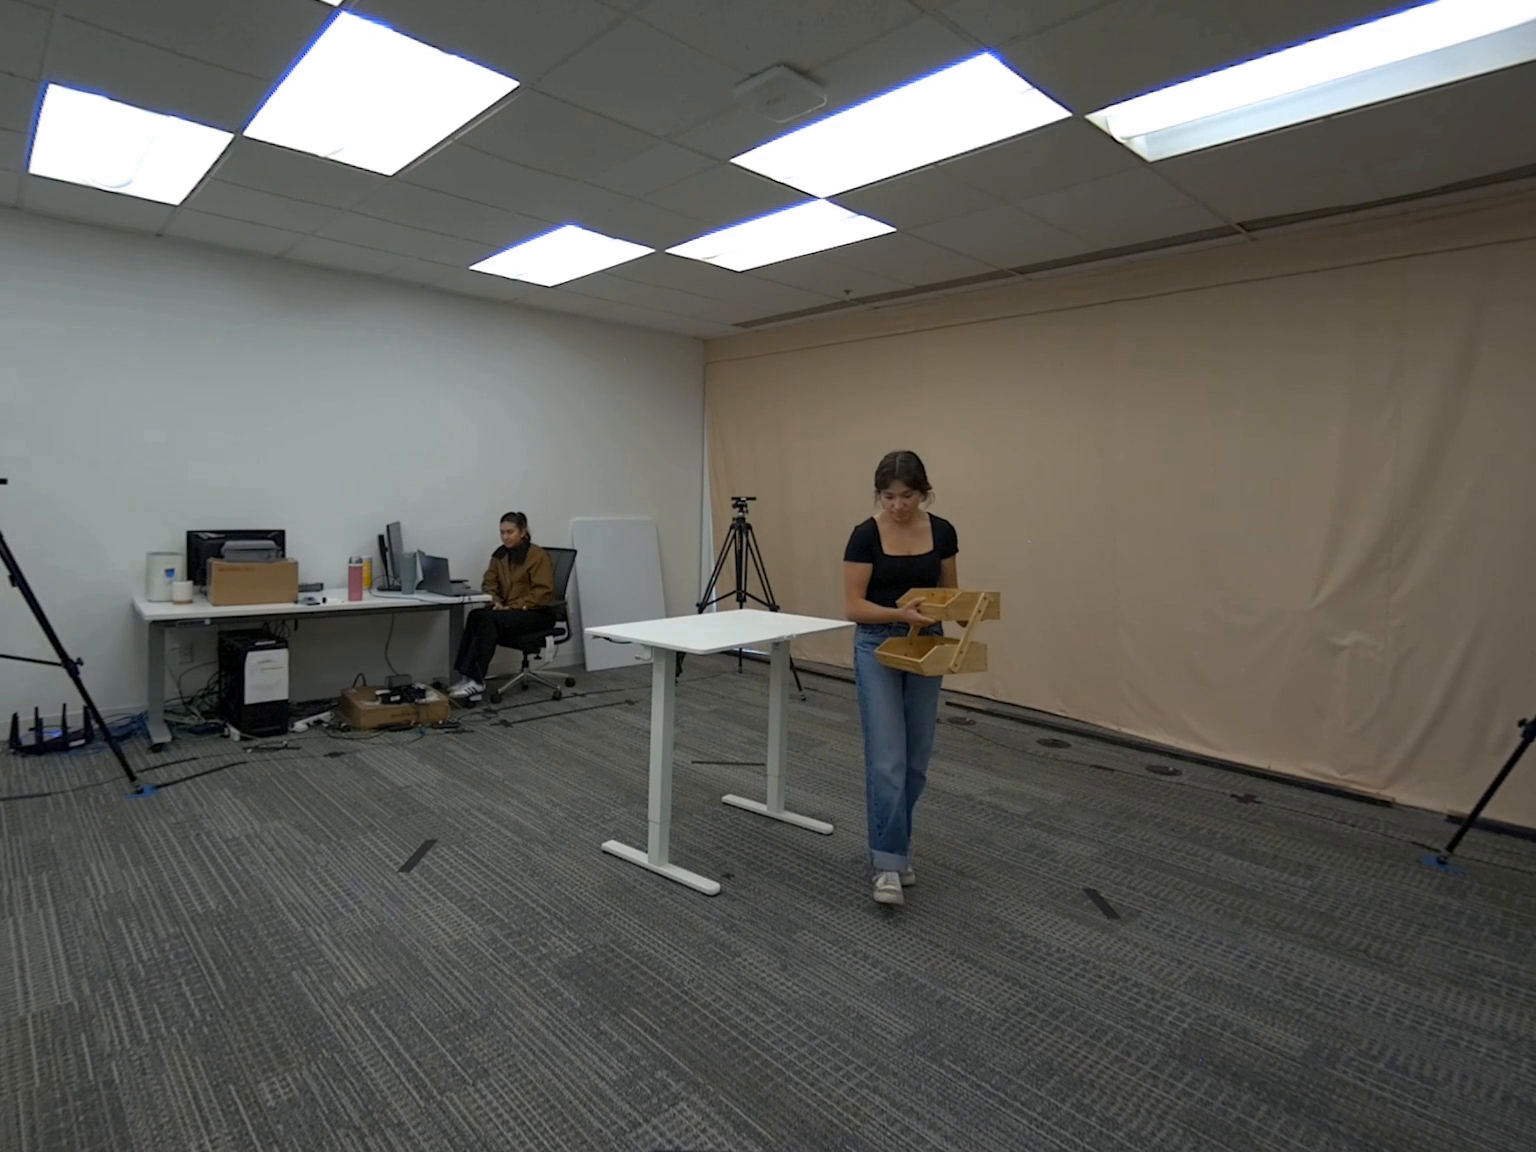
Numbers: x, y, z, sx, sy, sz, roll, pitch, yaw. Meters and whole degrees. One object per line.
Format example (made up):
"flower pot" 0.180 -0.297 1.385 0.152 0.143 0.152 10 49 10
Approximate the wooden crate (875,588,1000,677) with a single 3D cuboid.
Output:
"wooden crate" 0.542 0.173 2.824 0.297 0.273 0.329 0 0 -21
